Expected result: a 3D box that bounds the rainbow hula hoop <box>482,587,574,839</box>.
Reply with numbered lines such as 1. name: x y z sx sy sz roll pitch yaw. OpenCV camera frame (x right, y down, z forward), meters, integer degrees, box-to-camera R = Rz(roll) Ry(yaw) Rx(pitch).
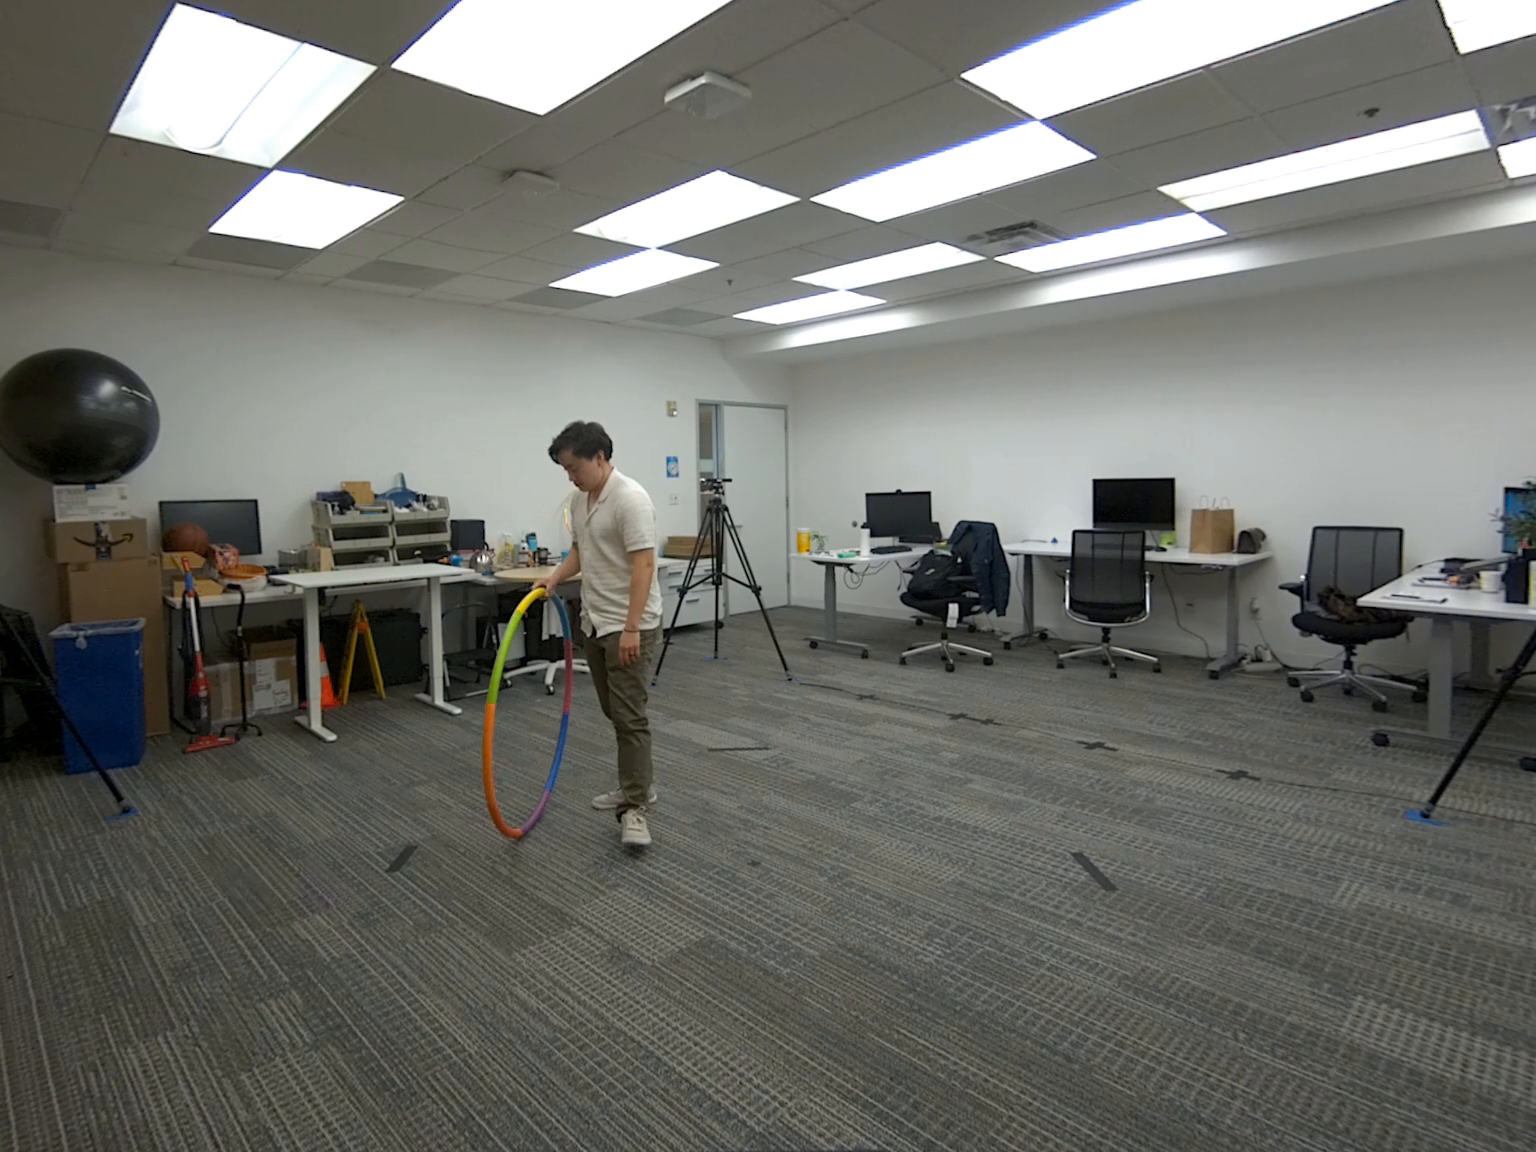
1. rainbow hula hoop: -0.932 0.538 3.445 0.036 0.975 0.978 5 5 2
